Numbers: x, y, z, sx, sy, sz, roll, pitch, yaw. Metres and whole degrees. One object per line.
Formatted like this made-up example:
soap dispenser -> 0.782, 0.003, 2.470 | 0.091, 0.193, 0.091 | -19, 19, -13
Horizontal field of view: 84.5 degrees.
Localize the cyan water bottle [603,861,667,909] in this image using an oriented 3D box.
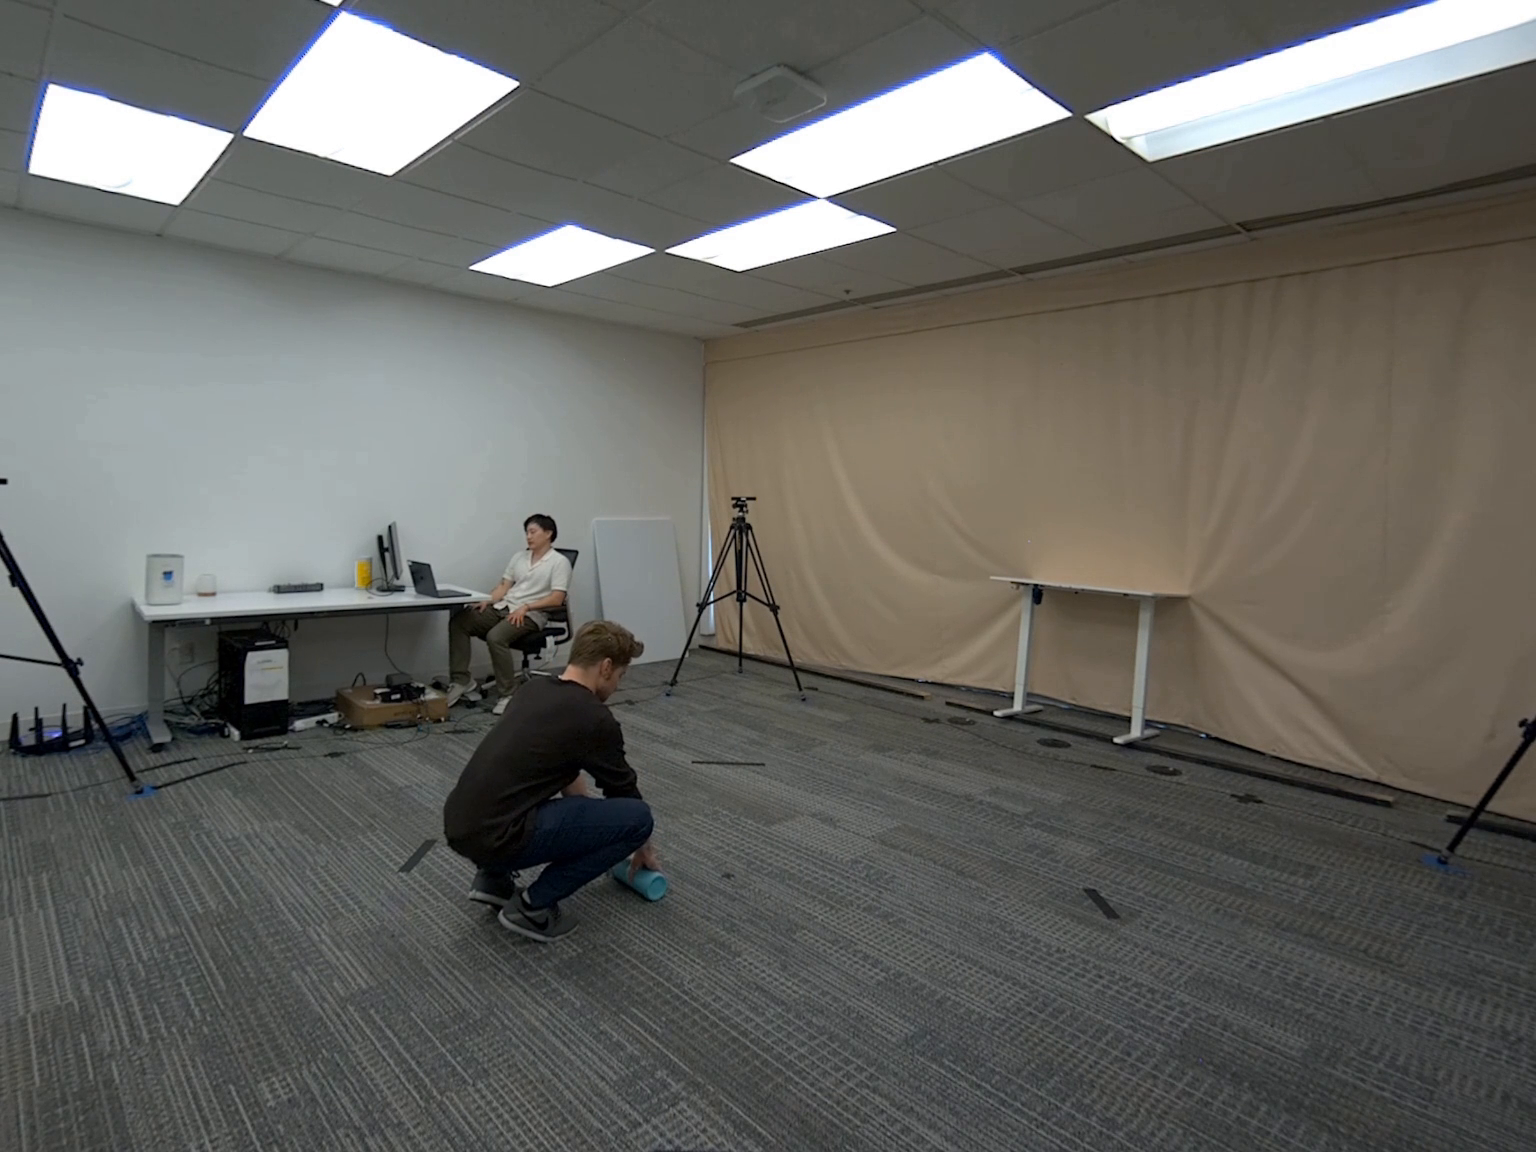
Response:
cyan water bottle -> -0.477, 1.062, 2.998 | 0.090, 0.092, 0.290 | -2, 6, -38
